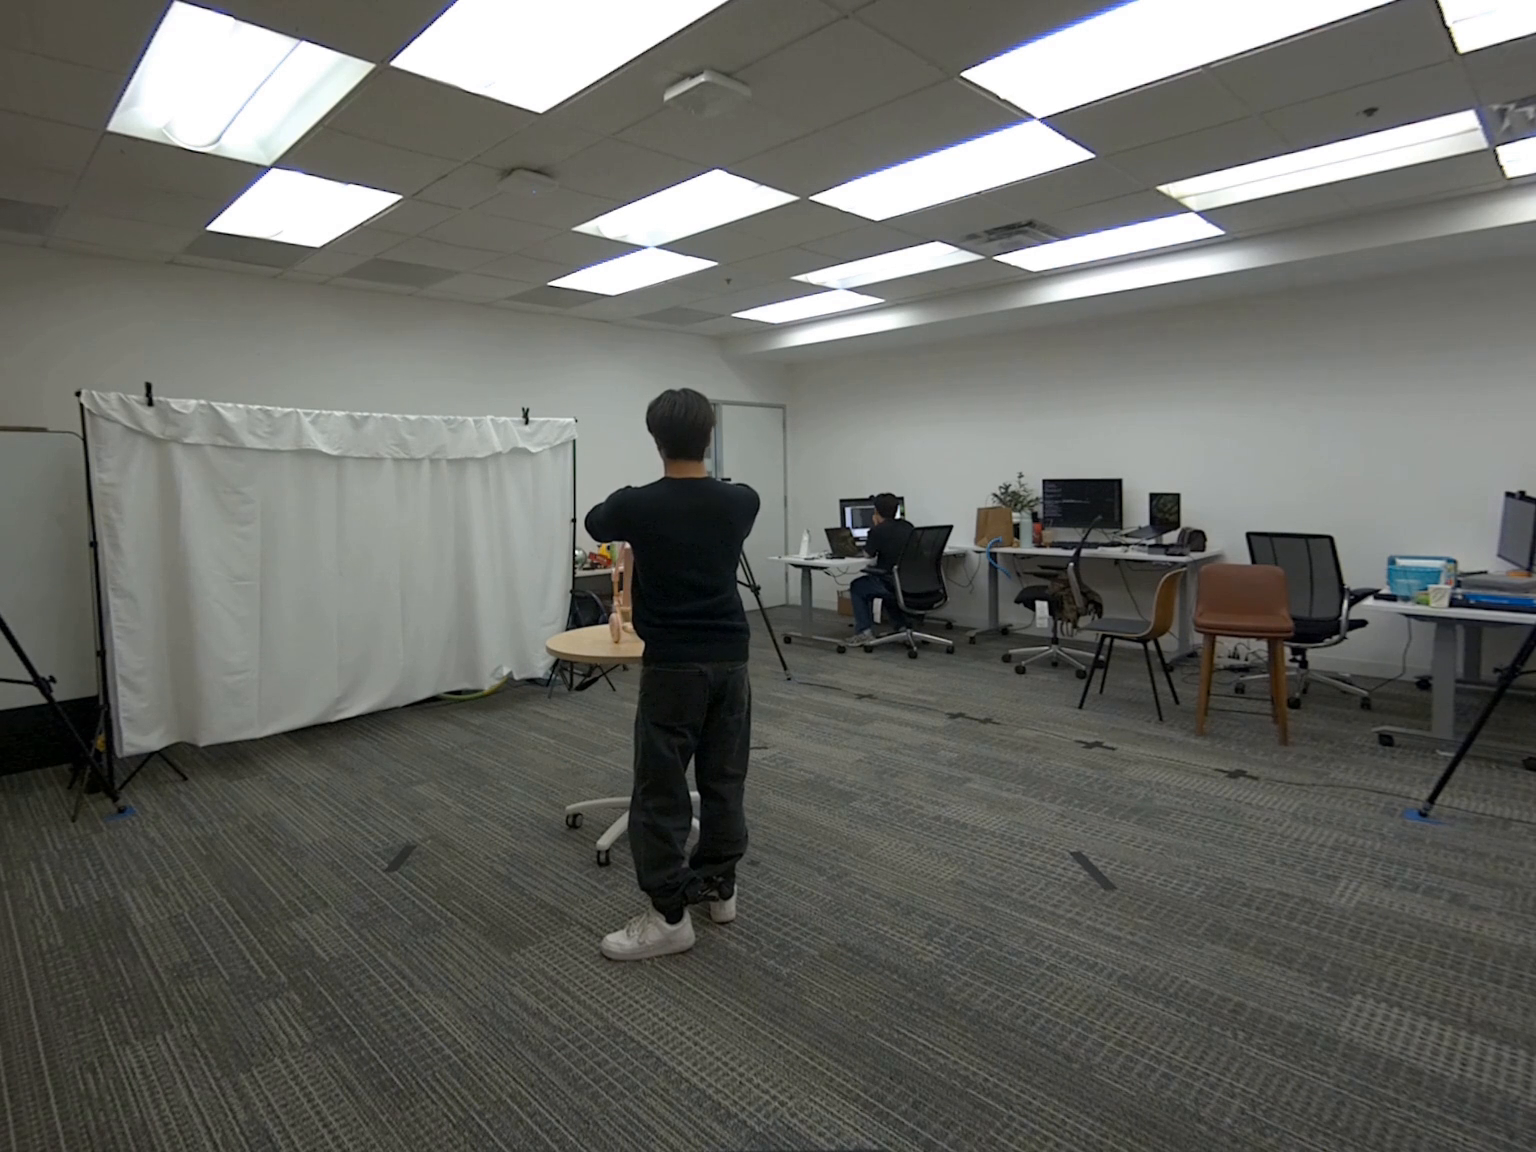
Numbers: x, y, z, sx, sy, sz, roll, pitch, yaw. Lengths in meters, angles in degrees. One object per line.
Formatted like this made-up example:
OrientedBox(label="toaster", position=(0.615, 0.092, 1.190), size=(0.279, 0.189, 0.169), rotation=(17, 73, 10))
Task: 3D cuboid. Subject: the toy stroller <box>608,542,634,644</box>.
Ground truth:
OrientedBox(label="toy stroller", position=(-0.485, 0.015, 3.348), size=(0.278, 0.527, 0.351), rotation=(-2, 19, -15))
